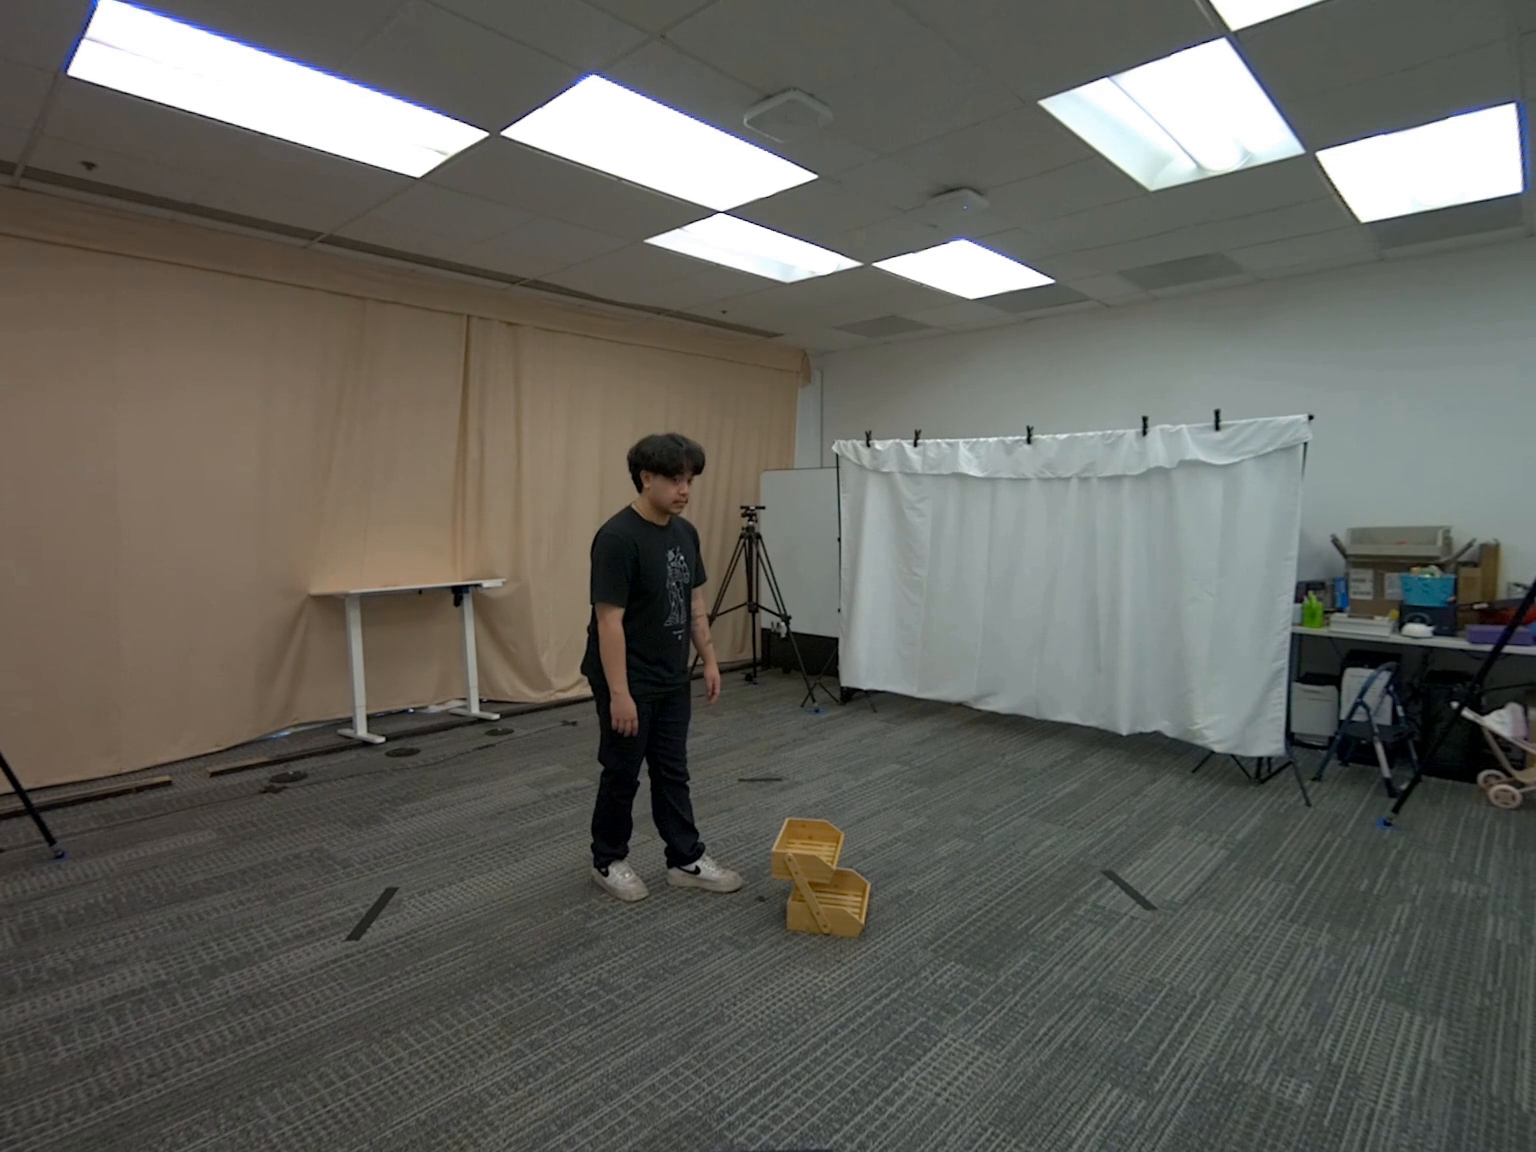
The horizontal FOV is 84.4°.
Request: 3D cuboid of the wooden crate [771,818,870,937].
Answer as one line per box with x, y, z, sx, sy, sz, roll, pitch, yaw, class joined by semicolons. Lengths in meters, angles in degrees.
0.196;1.022;2.876;0.306;0.273;0.321;0;4;12;wooden crate
